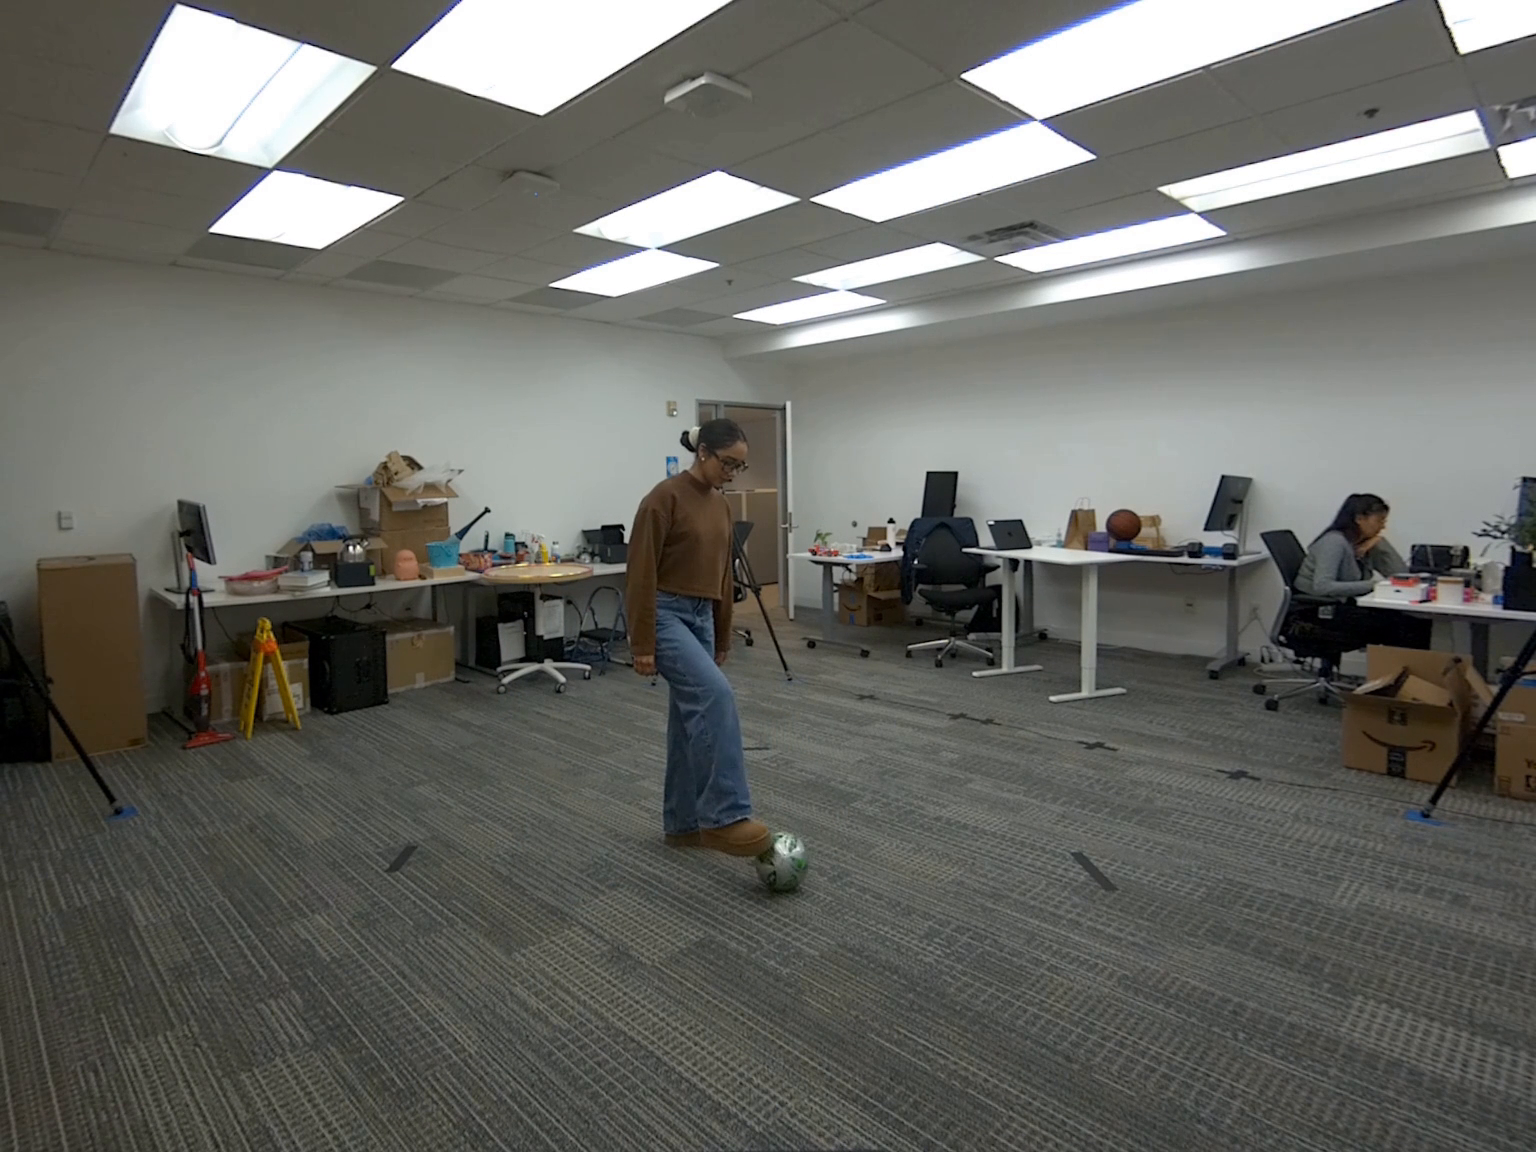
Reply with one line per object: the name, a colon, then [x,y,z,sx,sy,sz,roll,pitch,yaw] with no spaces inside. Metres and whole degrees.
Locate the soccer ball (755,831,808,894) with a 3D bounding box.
soccer ball: [0.048,0.966,2.913,0.187,0.187,0.188,-1,5,-2]
